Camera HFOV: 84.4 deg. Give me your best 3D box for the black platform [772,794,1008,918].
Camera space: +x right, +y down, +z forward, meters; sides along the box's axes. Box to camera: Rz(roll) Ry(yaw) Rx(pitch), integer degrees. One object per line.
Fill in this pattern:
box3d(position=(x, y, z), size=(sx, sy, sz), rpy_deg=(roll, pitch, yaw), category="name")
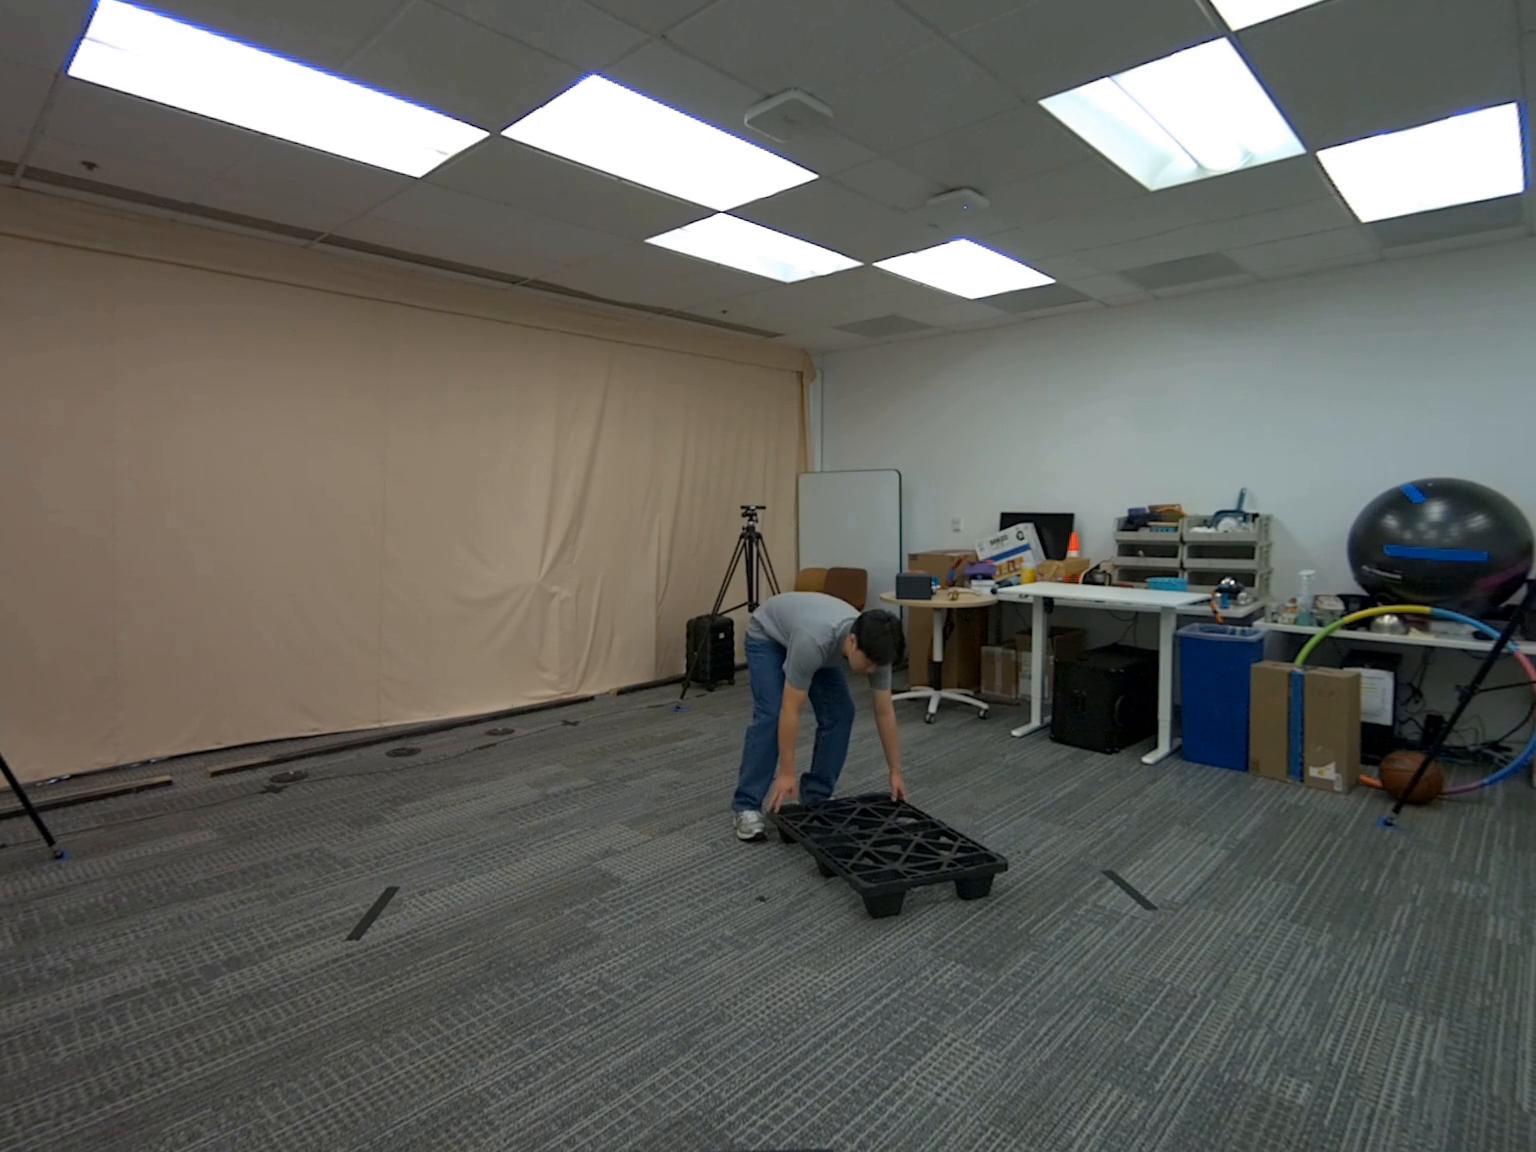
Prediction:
box3d(position=(0.425, 1.054, 3.236), size=(0.592, 0.143, 0.825), rpy_deg=(-2, 5, -23), category="black platform")
